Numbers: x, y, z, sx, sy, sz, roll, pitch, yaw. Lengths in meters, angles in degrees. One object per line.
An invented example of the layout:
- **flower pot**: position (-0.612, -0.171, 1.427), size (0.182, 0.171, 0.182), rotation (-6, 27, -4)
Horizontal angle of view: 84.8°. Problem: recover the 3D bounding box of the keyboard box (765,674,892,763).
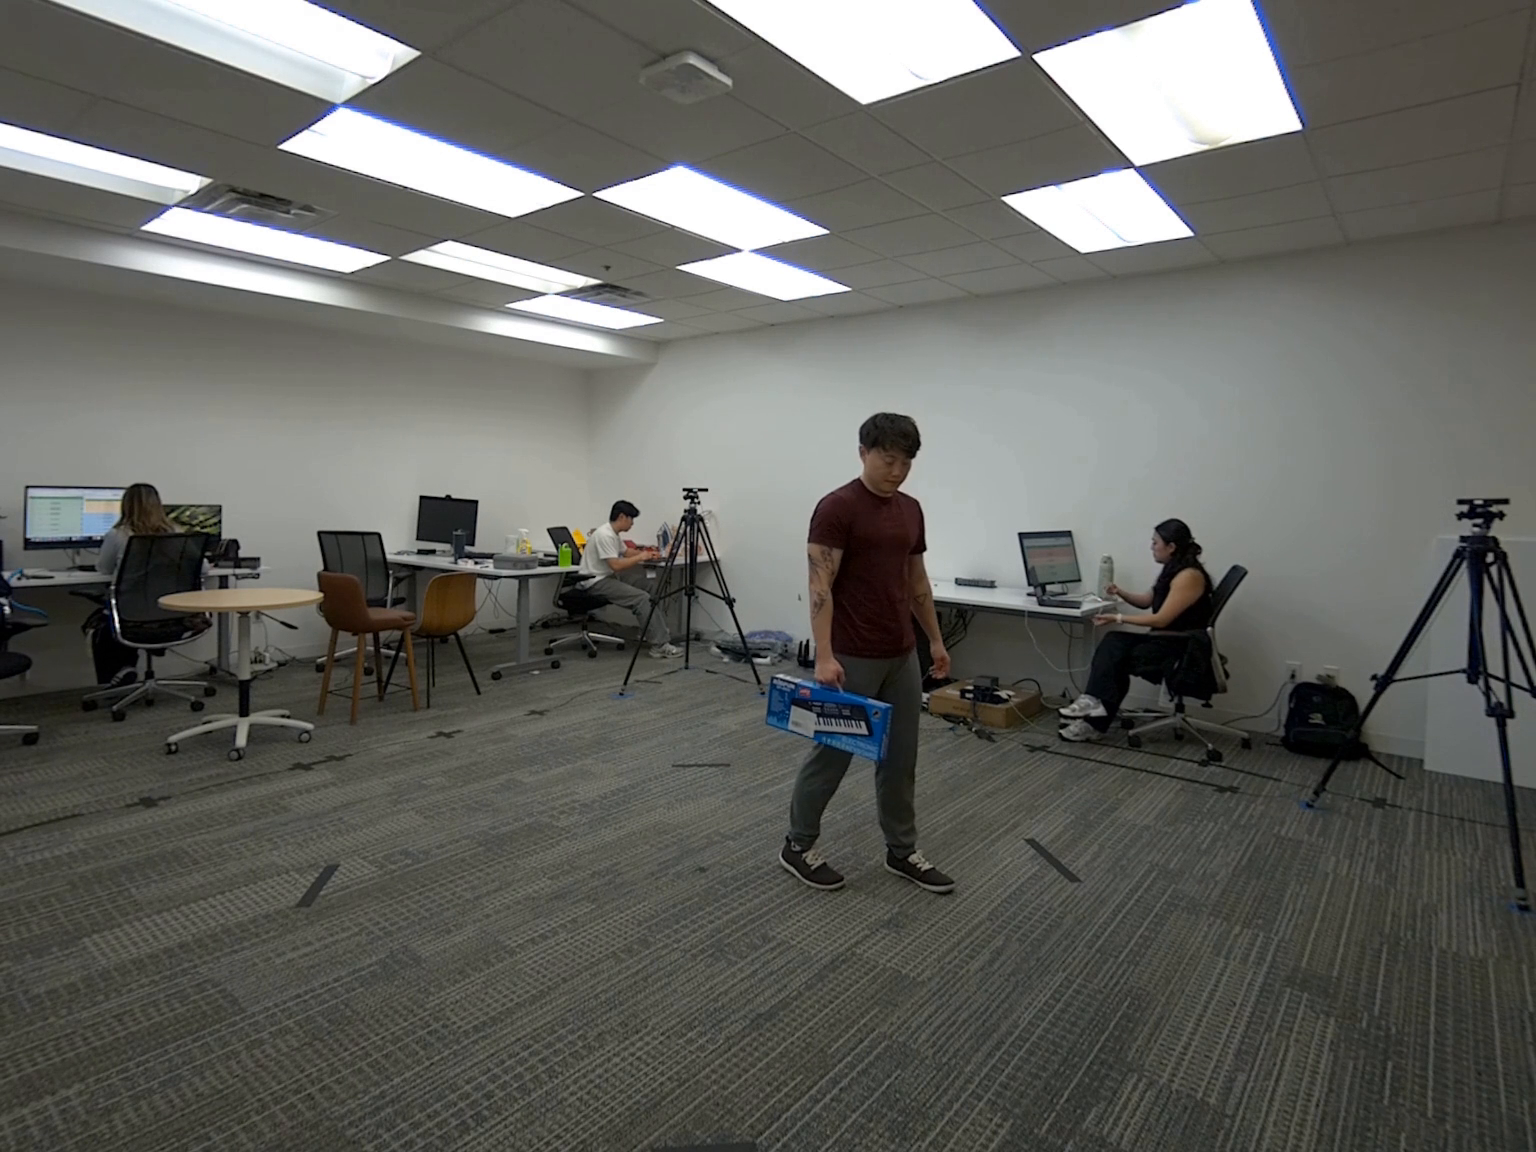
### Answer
- **keyboard box**: position (0.188, 0.455, 2.804), size (0.453, 0.175, 0.057), rotation (12, 7, 37)
